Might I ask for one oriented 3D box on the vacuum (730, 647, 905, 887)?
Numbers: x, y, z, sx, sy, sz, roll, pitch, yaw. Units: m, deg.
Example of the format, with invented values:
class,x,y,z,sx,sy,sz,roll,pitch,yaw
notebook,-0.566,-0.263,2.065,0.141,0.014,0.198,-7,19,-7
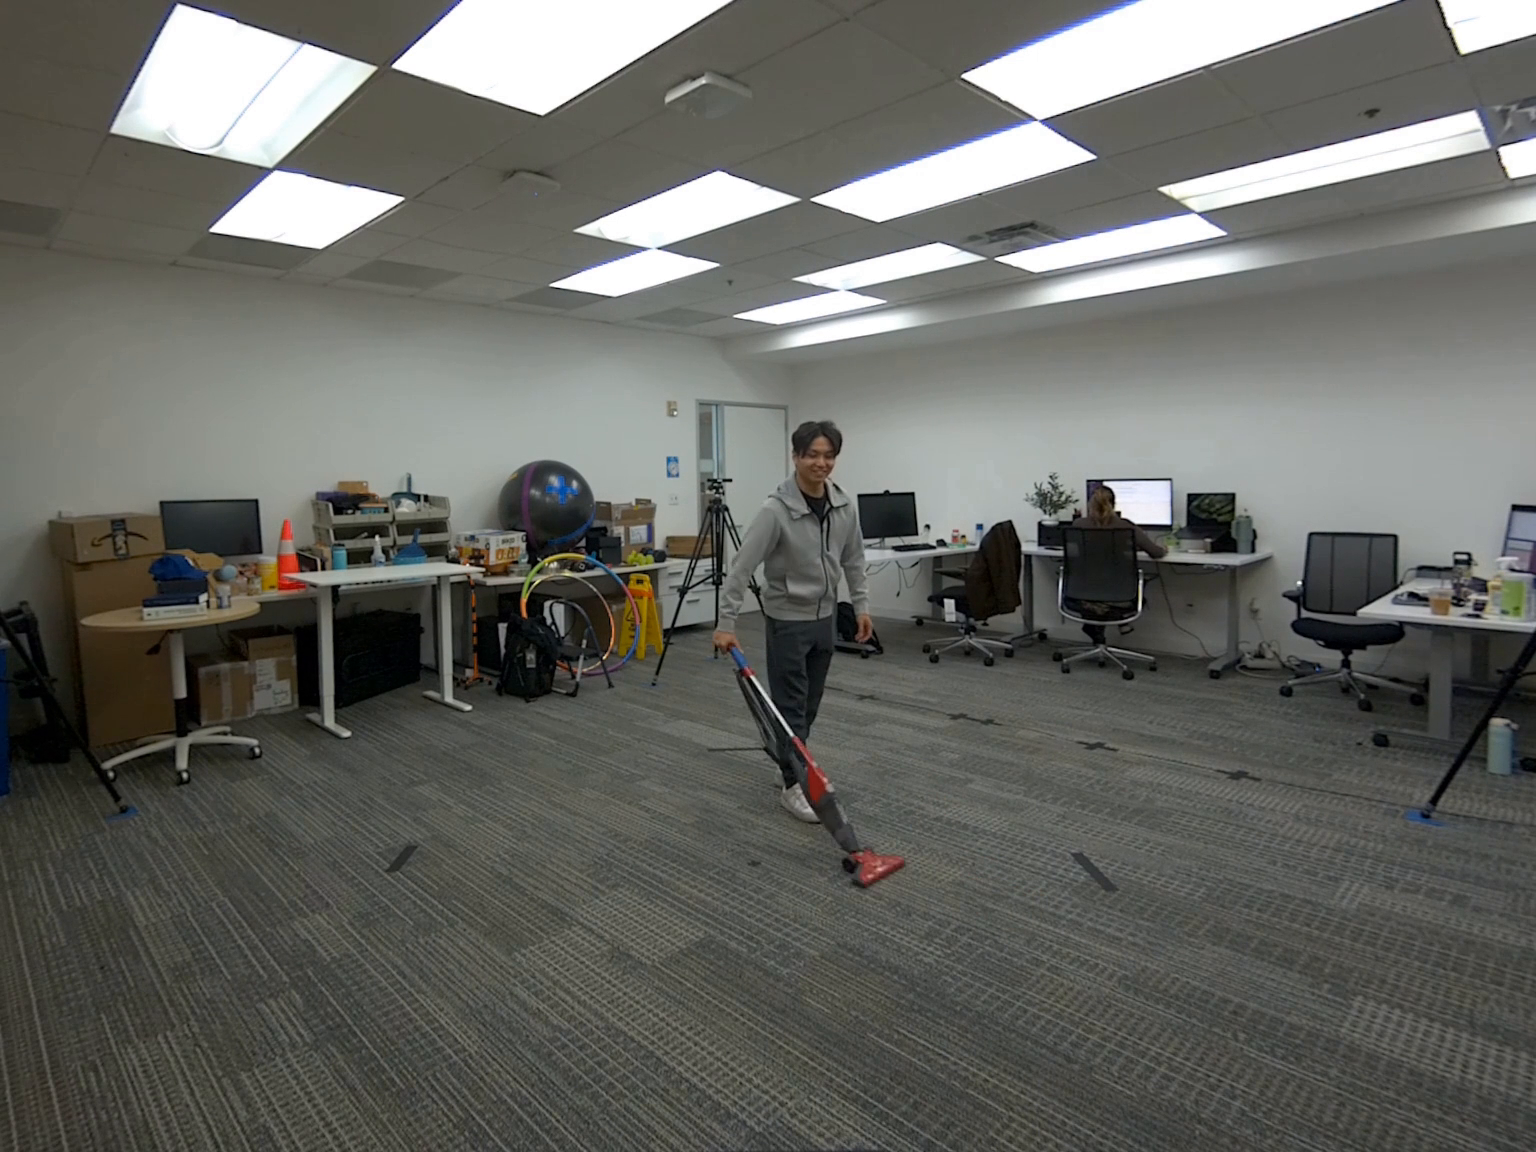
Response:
class,x,y,z,sx,sy,sz,roll,pitch,yaw
vacuum,0.093,0.655,3.285,0.245,0.143,1.085,6,40,-51
